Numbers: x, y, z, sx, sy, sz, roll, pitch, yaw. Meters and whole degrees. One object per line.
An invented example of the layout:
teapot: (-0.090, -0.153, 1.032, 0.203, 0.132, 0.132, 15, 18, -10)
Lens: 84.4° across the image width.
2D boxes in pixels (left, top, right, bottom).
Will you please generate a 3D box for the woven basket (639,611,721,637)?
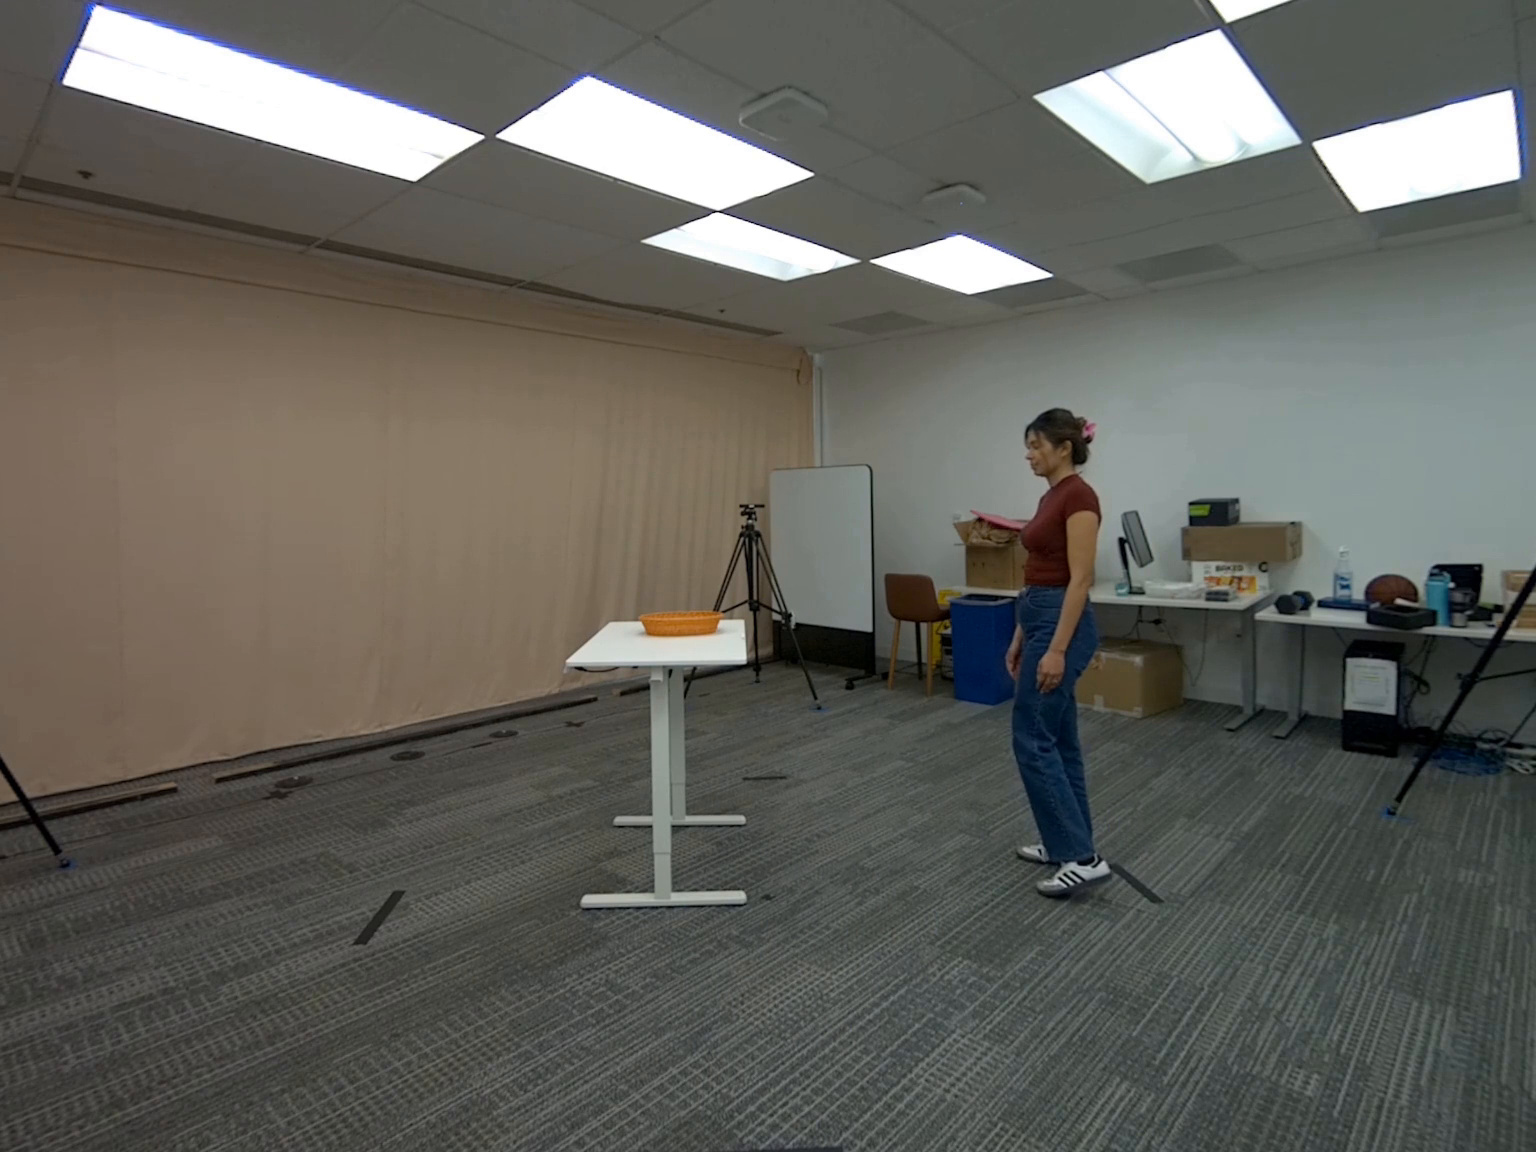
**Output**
woven basket: (-0.350, 0.199, 3.422, 0.348, 0.073, 0.254, -1, 3, -6)
